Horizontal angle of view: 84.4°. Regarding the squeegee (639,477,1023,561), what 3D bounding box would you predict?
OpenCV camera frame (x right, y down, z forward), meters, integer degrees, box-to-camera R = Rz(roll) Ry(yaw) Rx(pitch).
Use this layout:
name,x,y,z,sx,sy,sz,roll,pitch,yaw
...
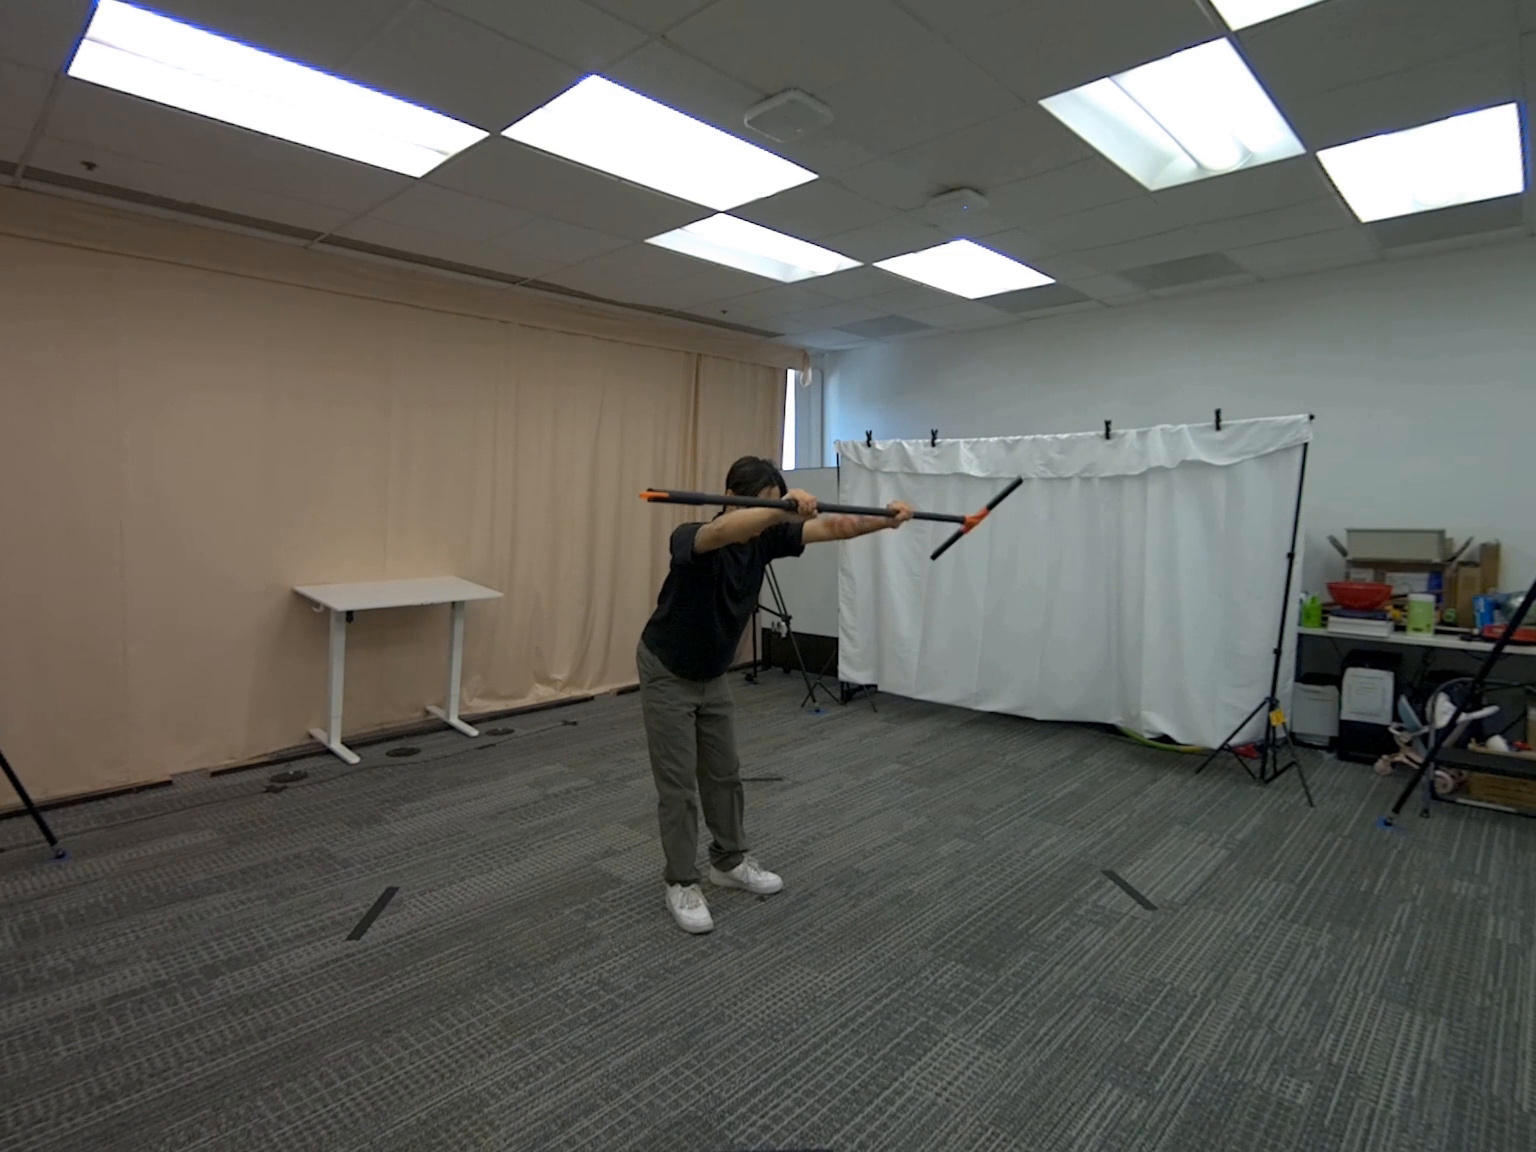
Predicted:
name,x,y,z,sx,sy,sz,roll,pitch,yaw
squeegee,0.232,-0.190,2.445,1.489,0.054,0.440,-2,-37,-45
